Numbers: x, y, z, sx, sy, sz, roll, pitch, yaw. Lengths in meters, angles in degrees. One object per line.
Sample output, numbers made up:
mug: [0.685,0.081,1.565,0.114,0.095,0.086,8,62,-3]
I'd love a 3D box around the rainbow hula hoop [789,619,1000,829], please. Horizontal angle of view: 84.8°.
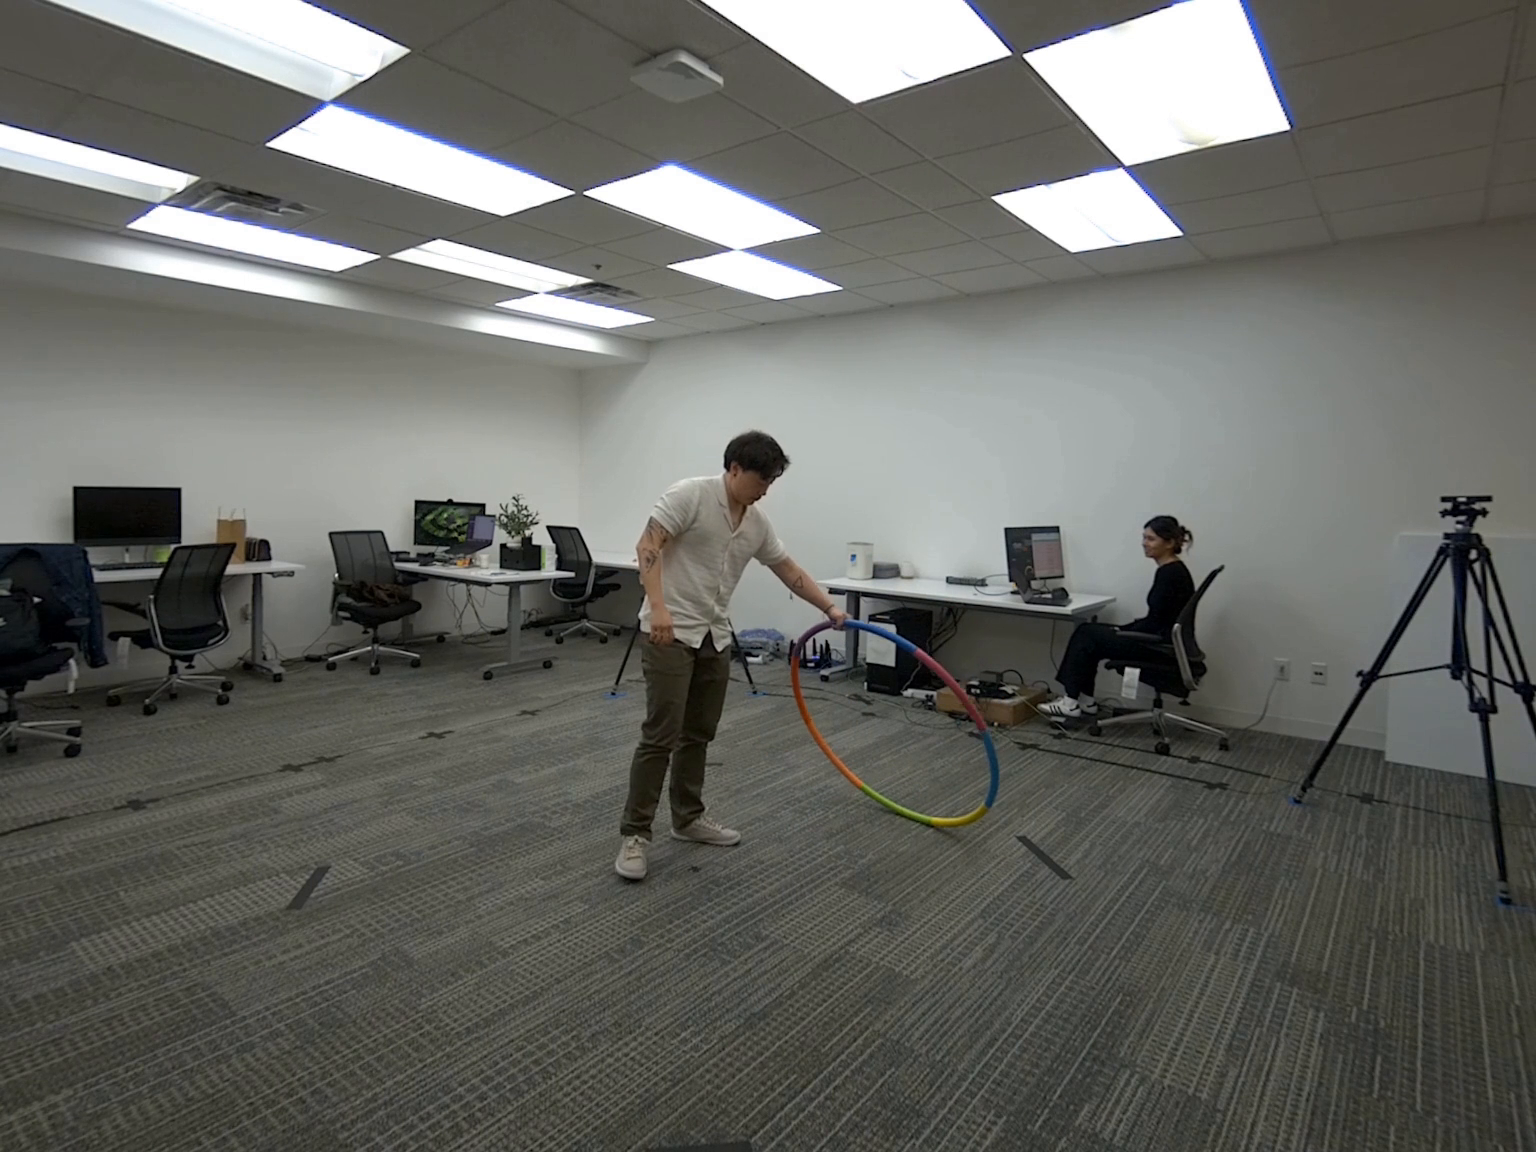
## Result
rainbow hula hoop: [0.470,0.593,3.460,1.012,0.954,0.035,5,32,46]
